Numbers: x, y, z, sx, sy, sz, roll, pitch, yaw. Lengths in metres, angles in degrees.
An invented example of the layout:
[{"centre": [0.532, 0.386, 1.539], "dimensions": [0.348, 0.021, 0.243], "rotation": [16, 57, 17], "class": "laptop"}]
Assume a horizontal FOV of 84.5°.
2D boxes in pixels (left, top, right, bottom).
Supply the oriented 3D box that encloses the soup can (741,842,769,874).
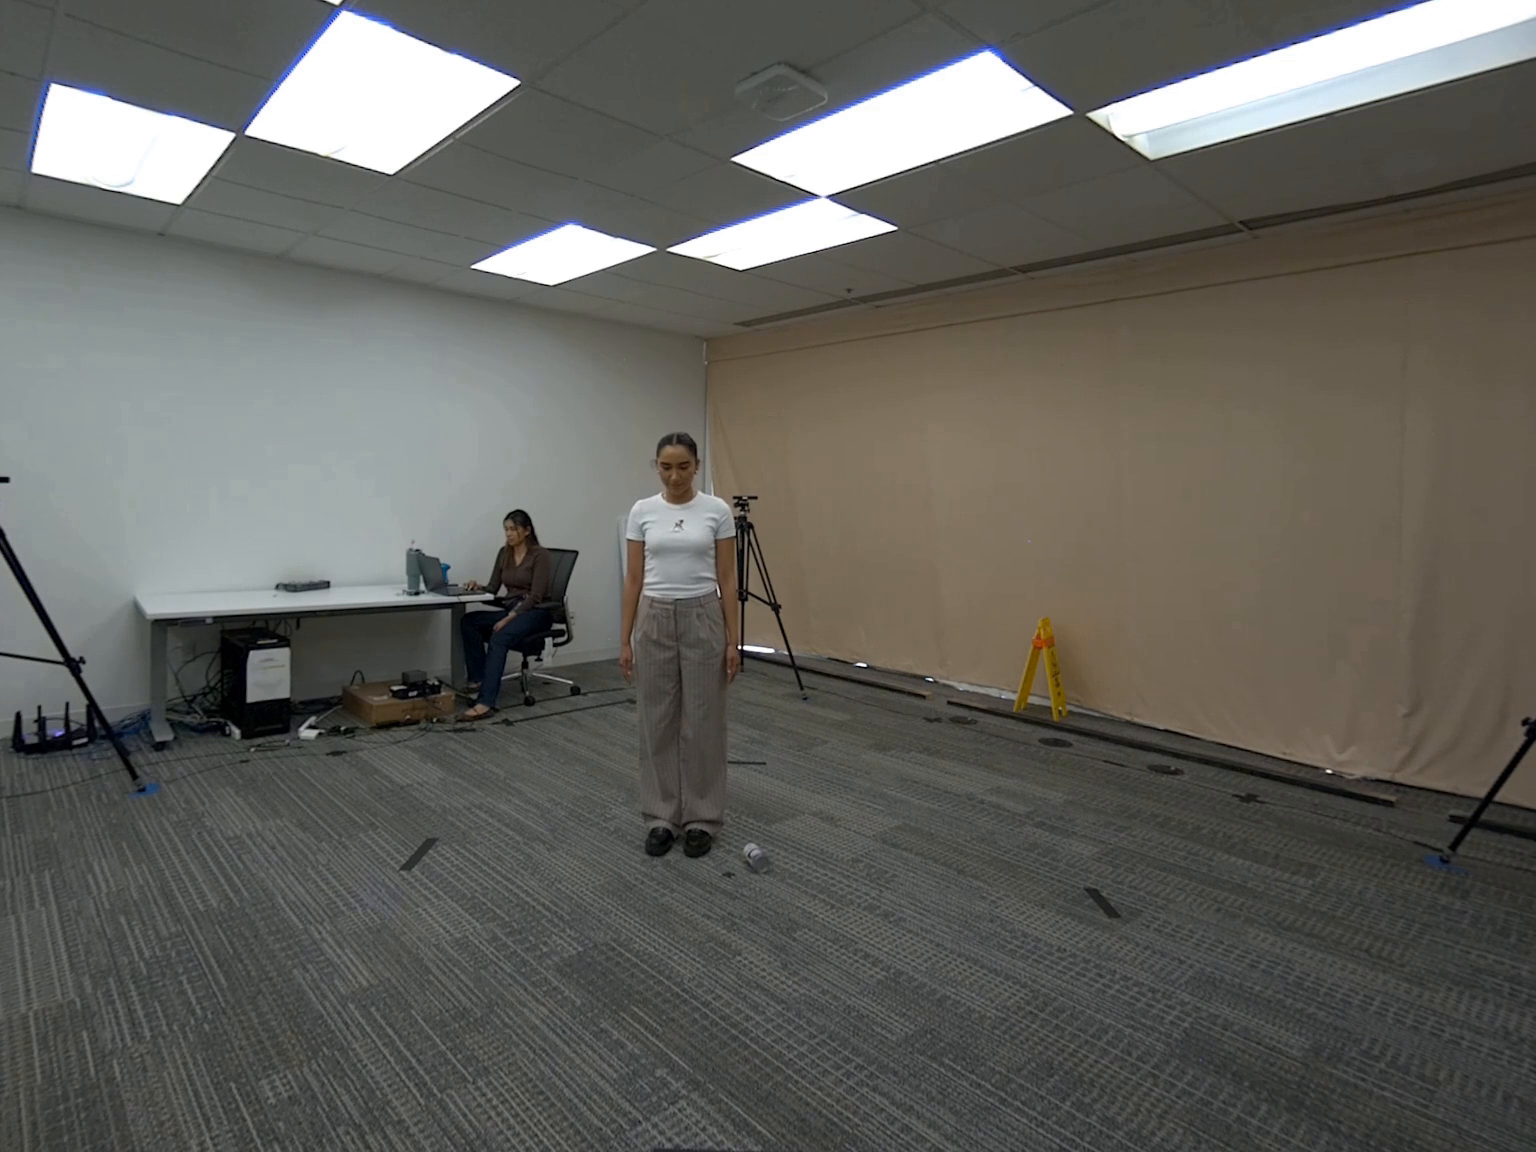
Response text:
[{"centre": [-0.050, 1.058, 3.176], "dimensions": [0.066, 0.067, 0.123], "rotation": [0, 5, -18], "class": "soup can"}]
